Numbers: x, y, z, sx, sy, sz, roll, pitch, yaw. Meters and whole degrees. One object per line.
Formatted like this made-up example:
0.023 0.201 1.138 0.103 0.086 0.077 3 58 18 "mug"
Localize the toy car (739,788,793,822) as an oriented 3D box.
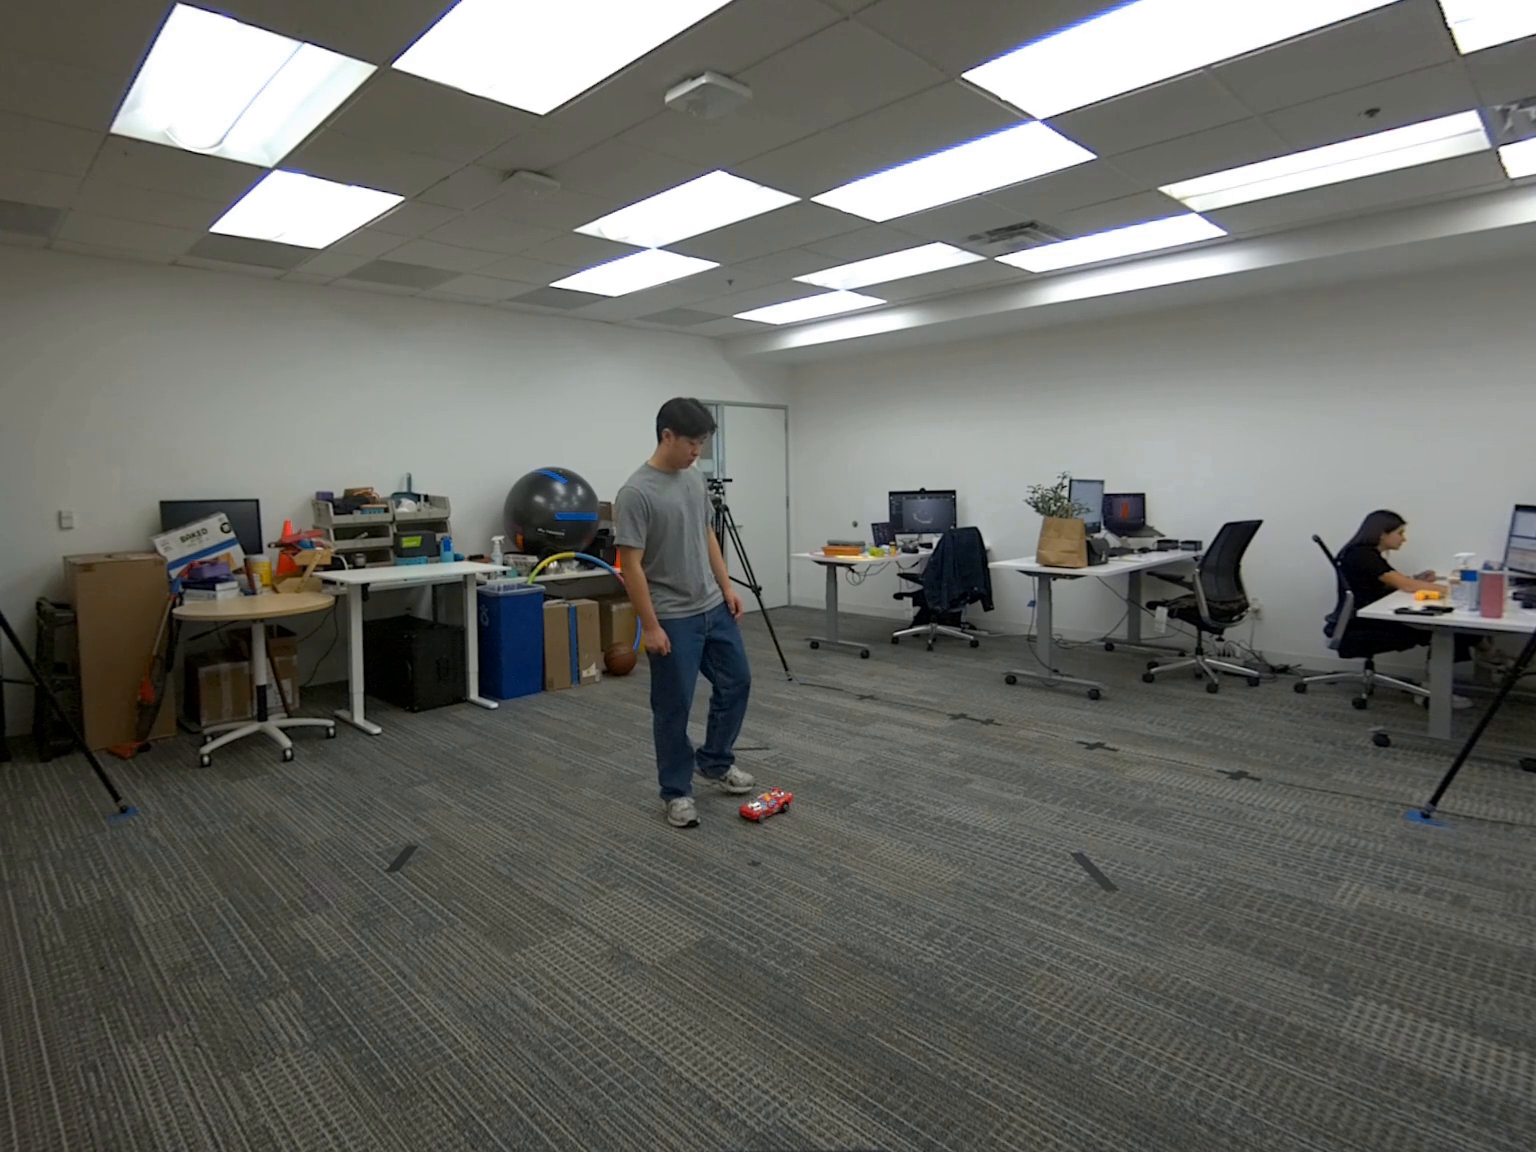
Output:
-0.002 0.956 3.570 0.134 0.082 0.250 5 19 43 "toy car"
